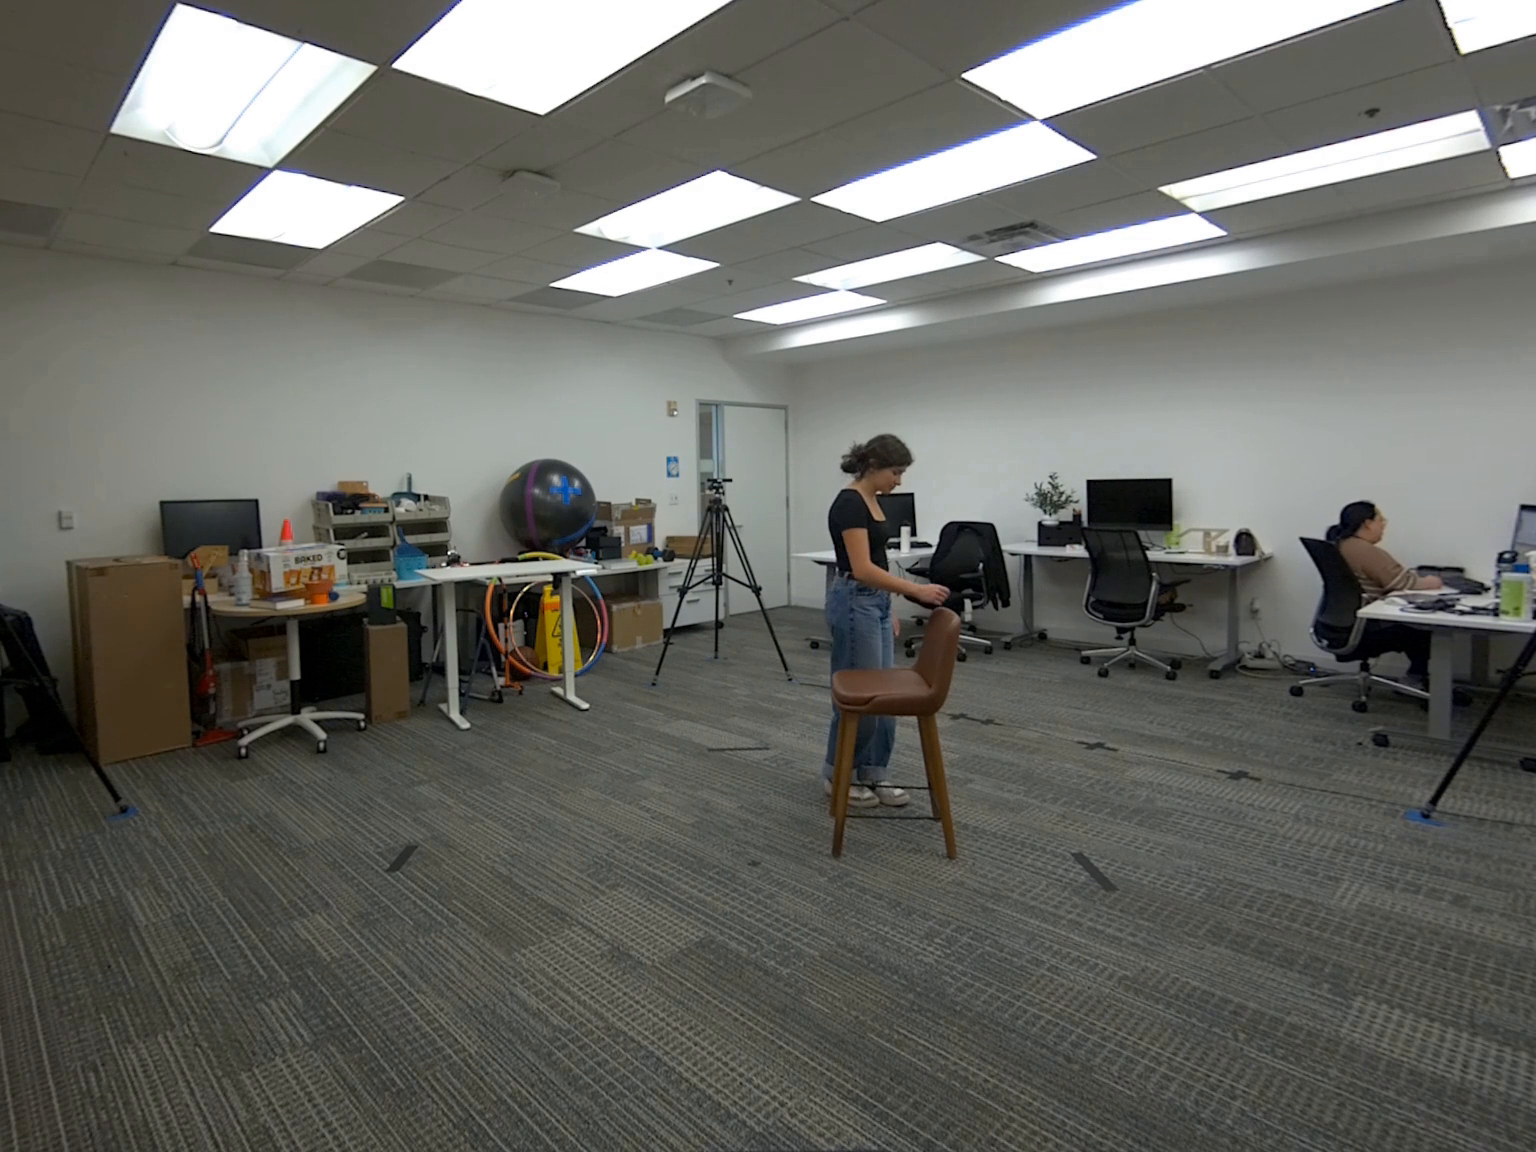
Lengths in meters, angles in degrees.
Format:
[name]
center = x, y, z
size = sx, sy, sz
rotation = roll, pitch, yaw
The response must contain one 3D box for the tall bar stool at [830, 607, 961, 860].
[tall bar stool]
center = 0.473, 0.583, 3.296
size = 0.469, 0.887, 0.456
rotation = 1, 4, 3
